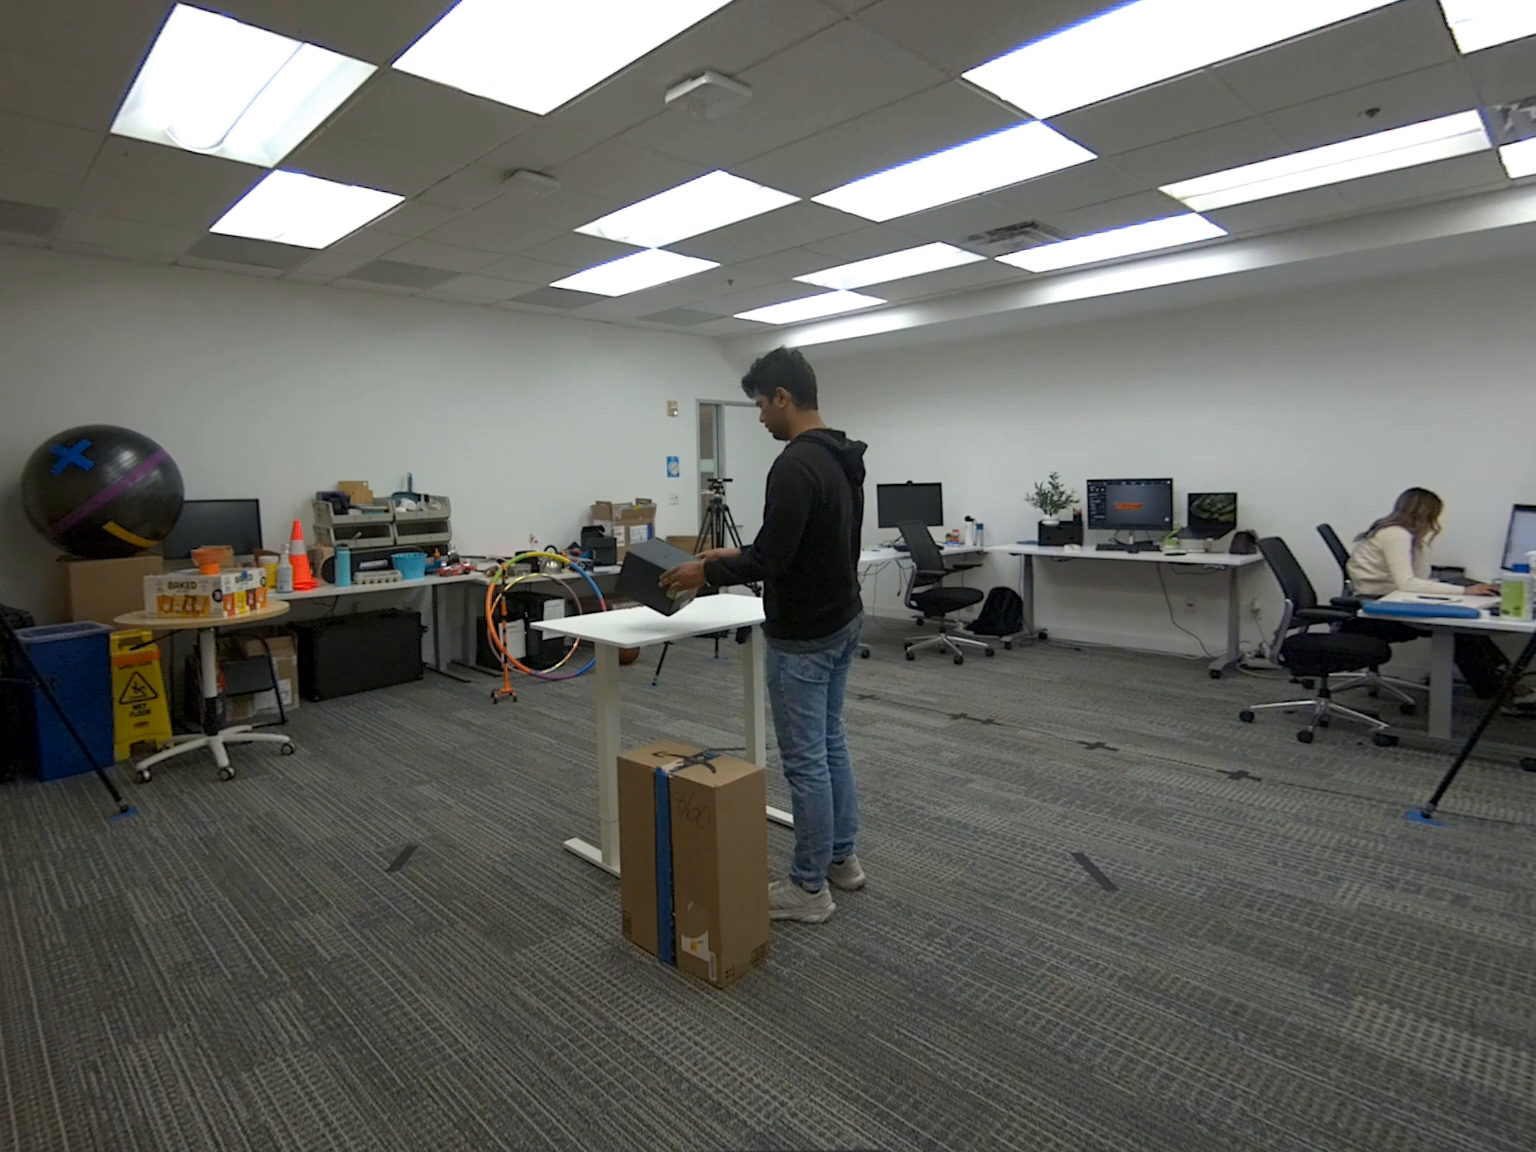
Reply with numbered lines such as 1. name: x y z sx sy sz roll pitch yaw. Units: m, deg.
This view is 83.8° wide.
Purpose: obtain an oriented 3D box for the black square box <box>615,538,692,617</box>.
1. black square box: -0.354 -0.001 2.941 0.221 0.154 0.226 22 19 13
